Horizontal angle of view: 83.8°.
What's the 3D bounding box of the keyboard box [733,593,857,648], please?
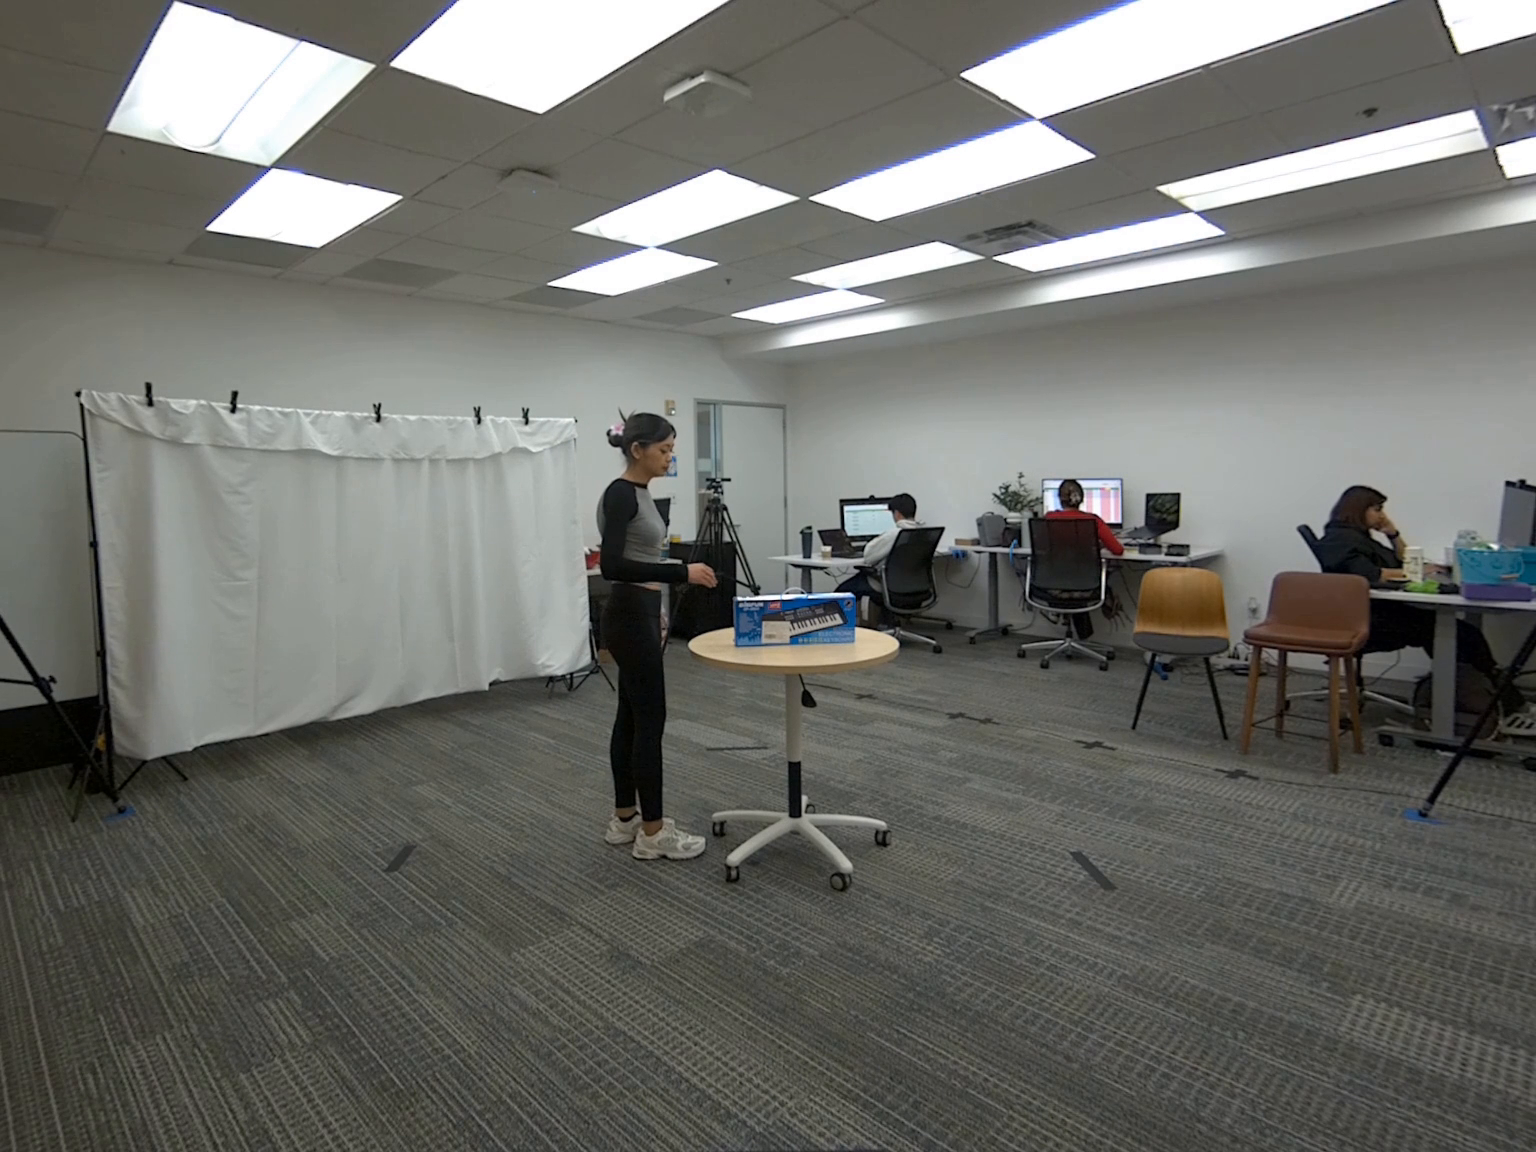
[{"bbox_3d":[0.095,0.160,3.095,0.435,0.175,0.060,-1,7,-4],"label":"keyboard box"}]
